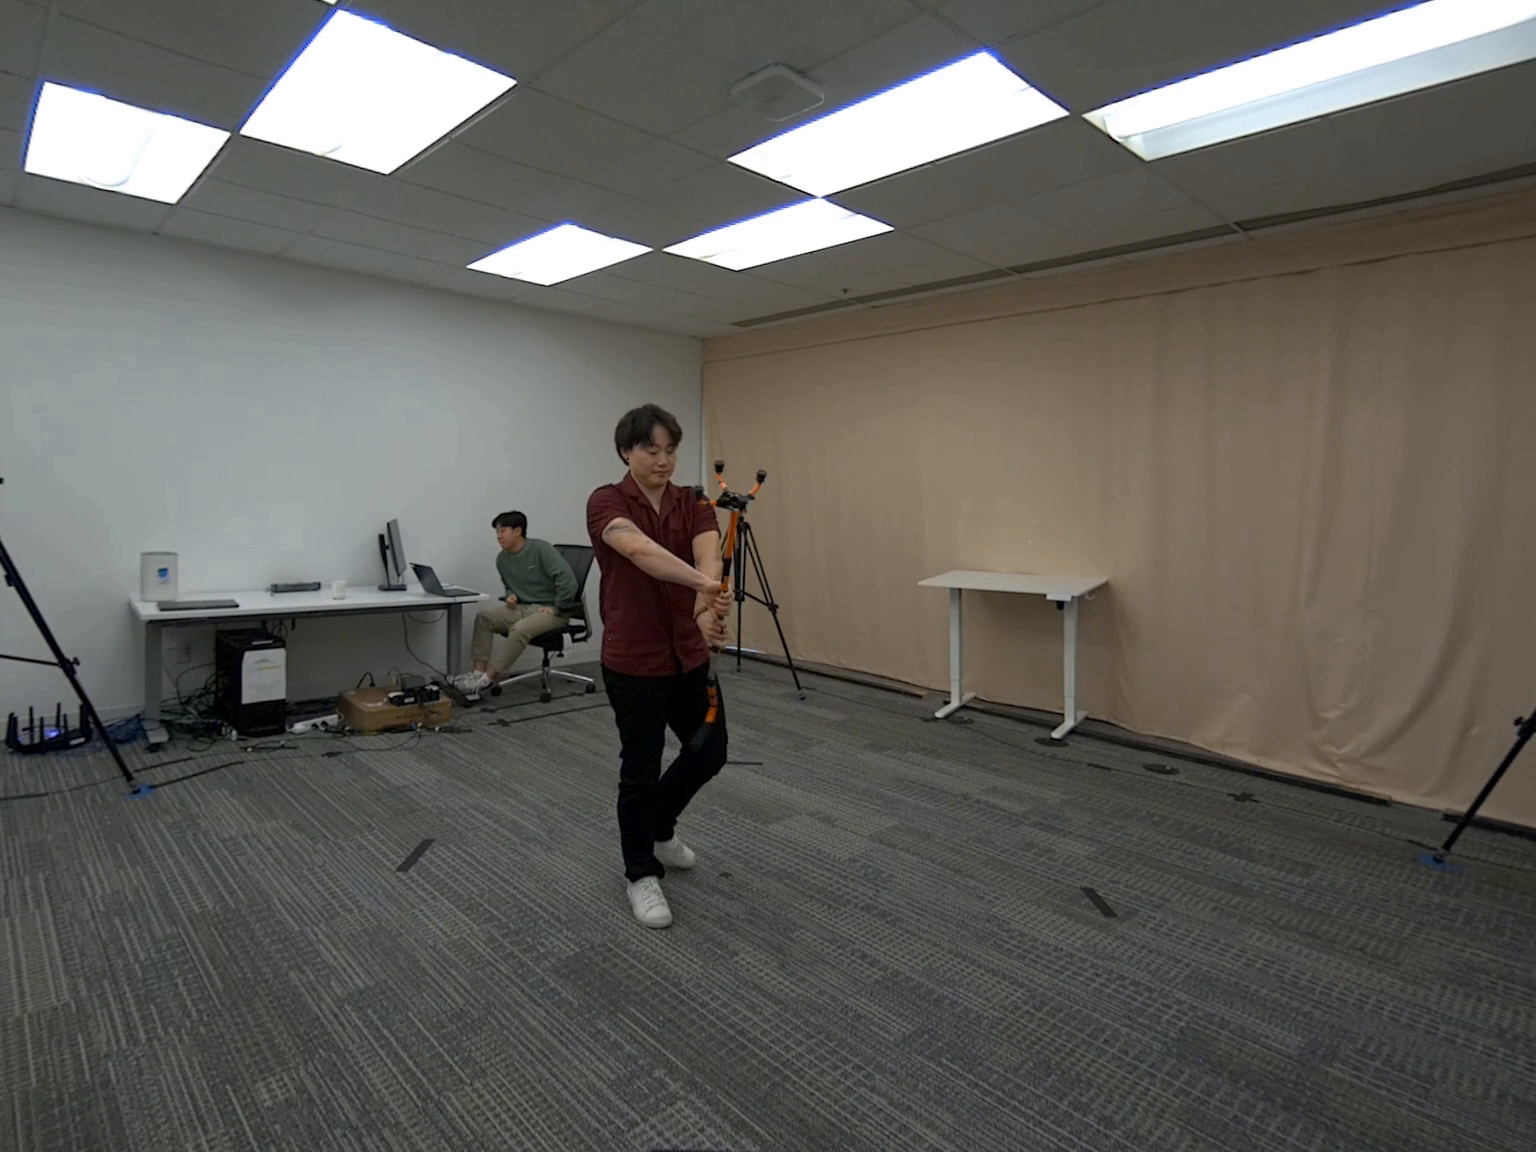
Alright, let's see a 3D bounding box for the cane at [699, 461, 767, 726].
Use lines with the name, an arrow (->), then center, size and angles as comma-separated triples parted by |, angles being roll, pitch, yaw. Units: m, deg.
cane -> -0.159, 0.125, 2.484 | 0.153, 0.893, 0.207 | 16, 32, 11
